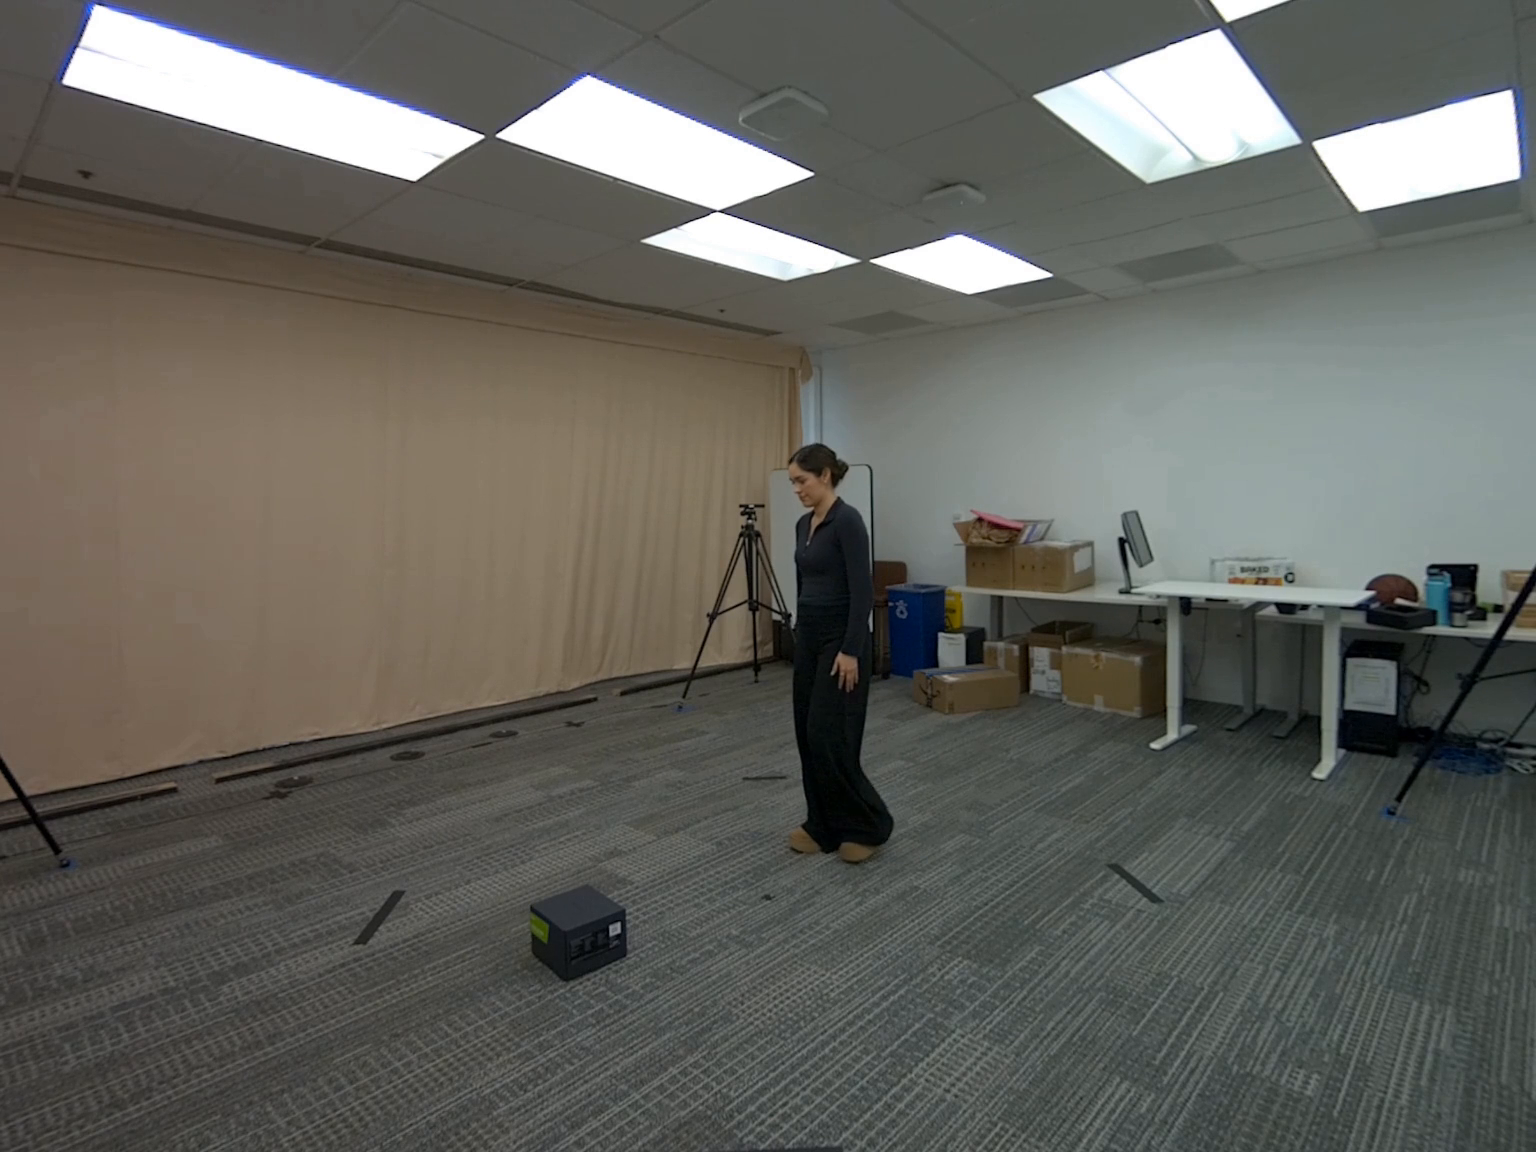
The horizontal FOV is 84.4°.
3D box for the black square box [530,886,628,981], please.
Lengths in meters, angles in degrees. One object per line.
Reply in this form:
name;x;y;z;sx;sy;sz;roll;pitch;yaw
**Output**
black square box;-0.590;1.101;2.620;0.210;0.155;0.235;-5;6;-41
